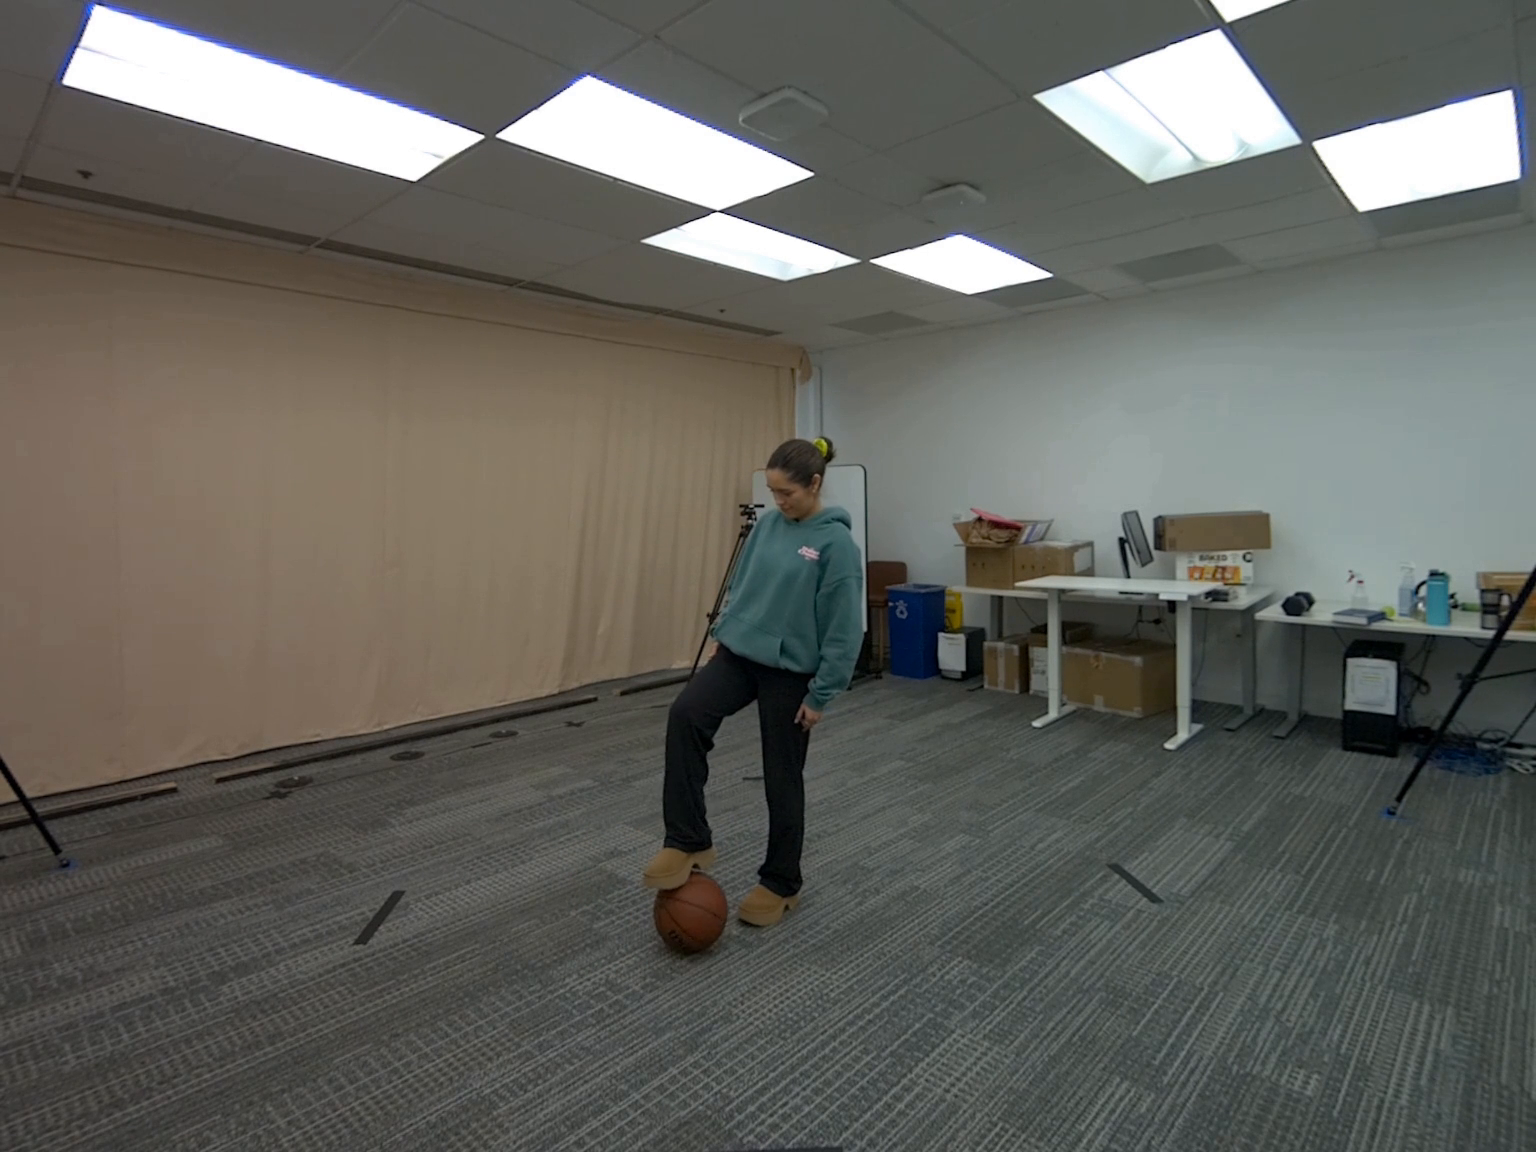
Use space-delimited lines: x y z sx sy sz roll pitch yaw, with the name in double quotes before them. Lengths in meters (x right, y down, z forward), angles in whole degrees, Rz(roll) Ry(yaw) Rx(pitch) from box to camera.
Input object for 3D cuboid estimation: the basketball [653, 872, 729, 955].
"basketball" -0.244 1.056 2.647 0.236 0.235 0.237 -1 4 -2
